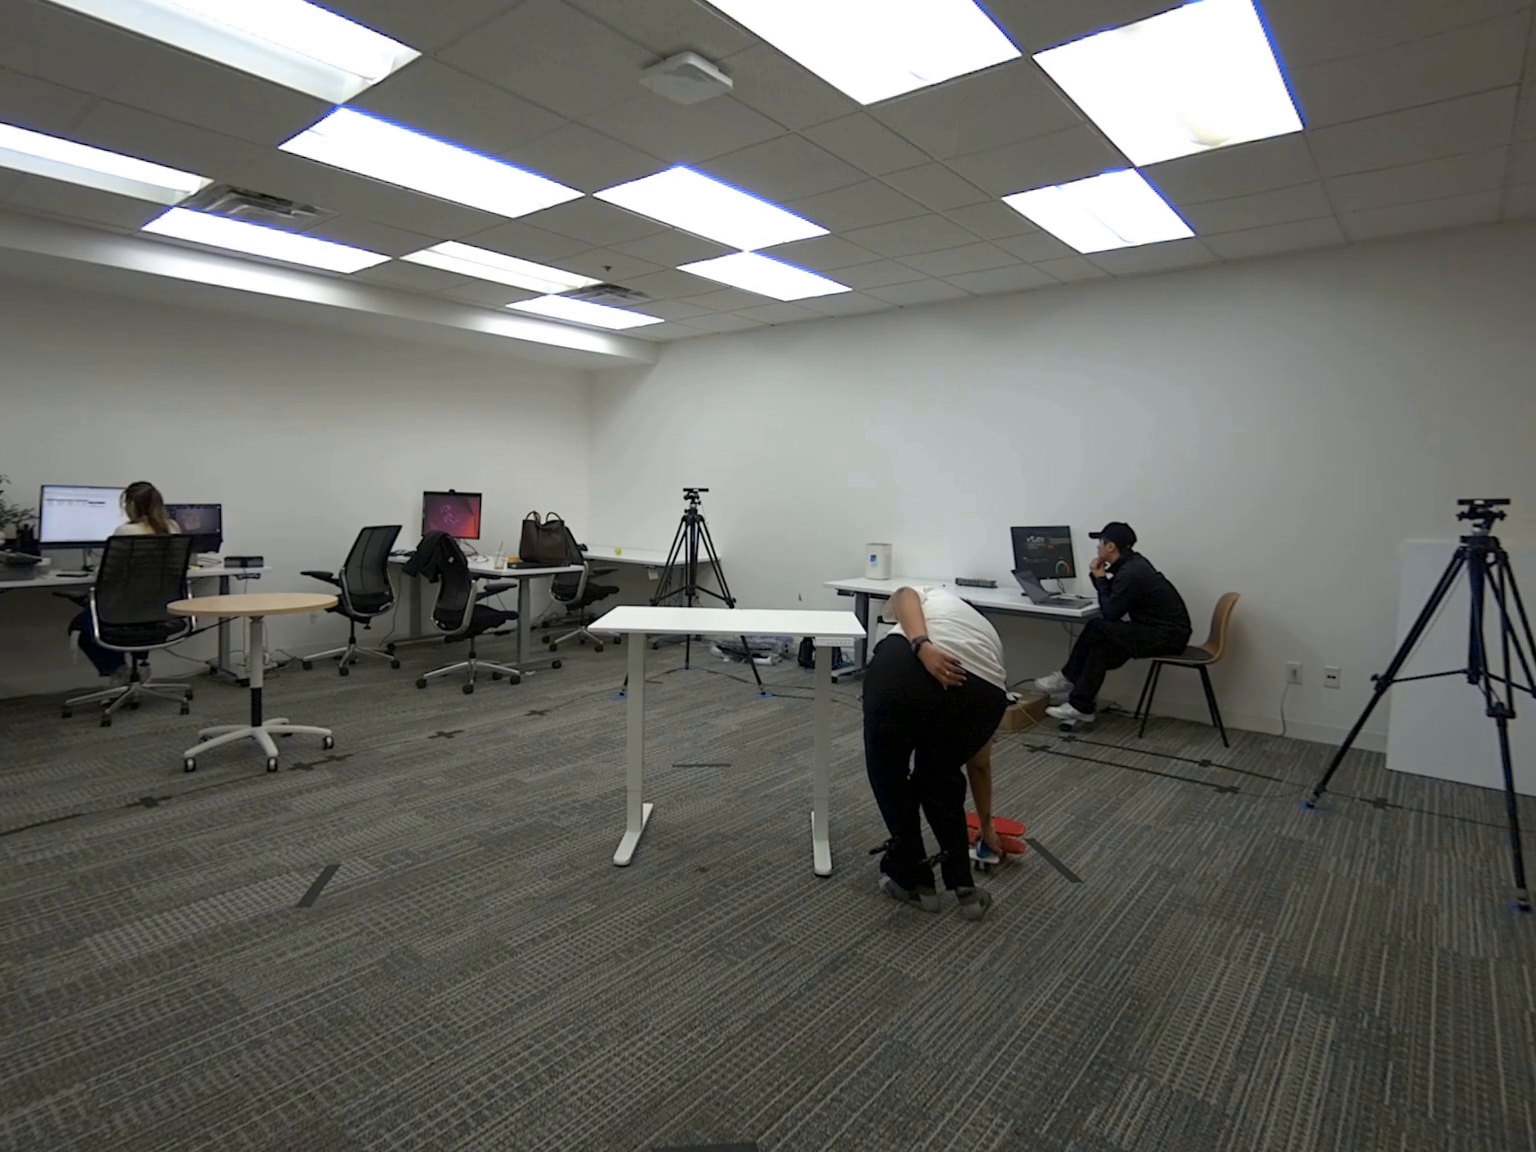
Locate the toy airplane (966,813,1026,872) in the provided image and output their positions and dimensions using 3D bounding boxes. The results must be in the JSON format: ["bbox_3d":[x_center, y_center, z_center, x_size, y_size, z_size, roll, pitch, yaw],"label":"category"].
[{"bbox_3d":[0.856,1.009,3.235,0.252,0.156,0.259,2,4,1],"label":"toy airplane"}]
